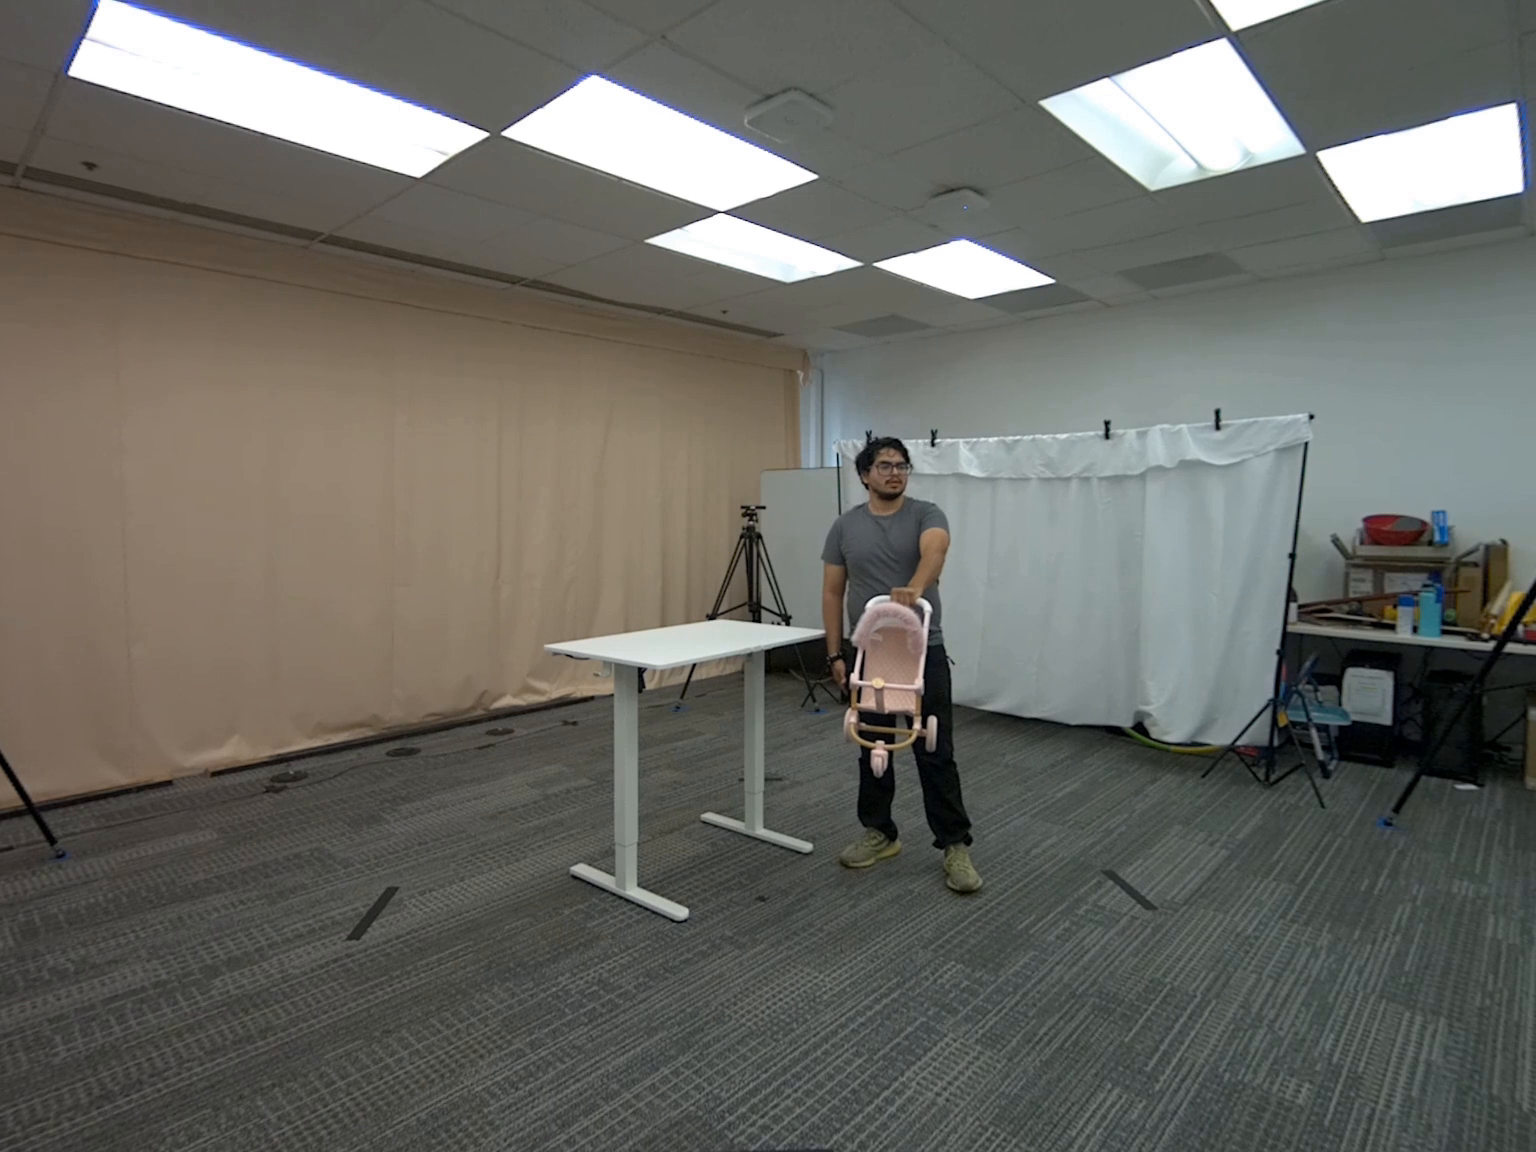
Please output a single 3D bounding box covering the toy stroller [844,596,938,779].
[{"bbox_3d":[0.367,0.321,2.552,0.288,0.536,0.332,3,-5,21],"label":"toy stroller"}]
